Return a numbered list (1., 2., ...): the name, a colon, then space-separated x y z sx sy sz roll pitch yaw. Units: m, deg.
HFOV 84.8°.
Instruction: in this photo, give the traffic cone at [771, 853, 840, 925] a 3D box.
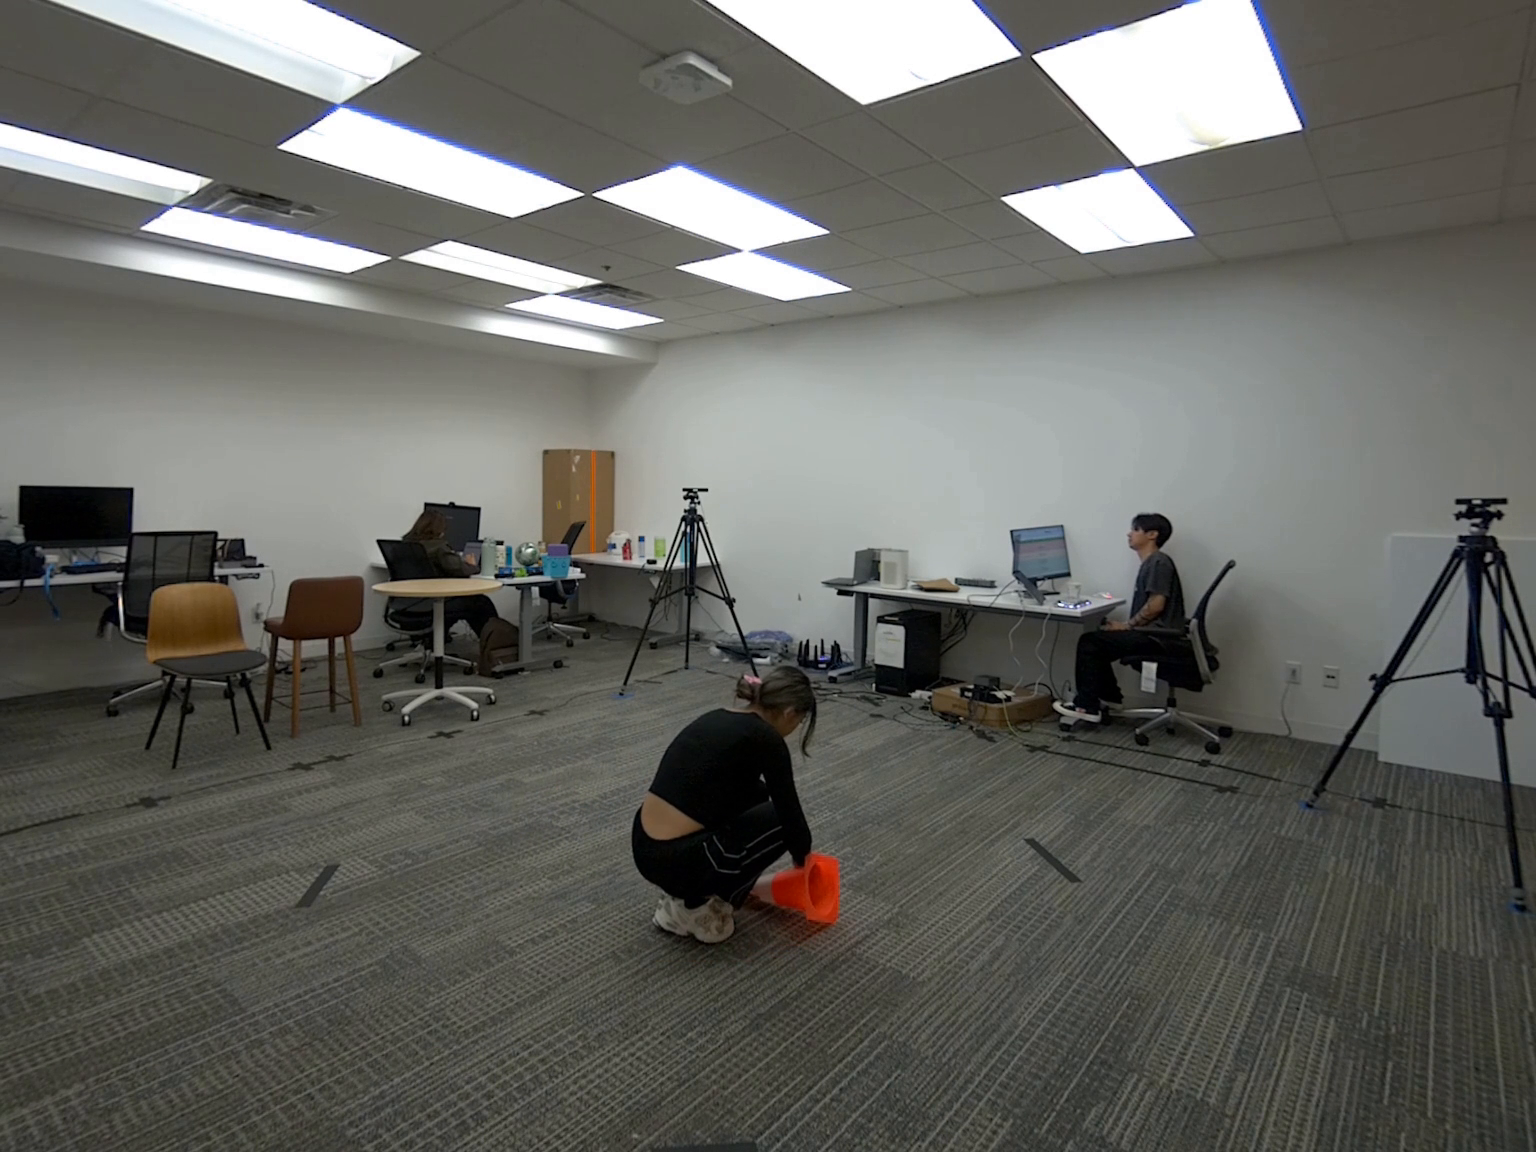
1. traffic cone: 0.017 1.045 2.831 0.391 0.208 0.196 -16 -33 33
